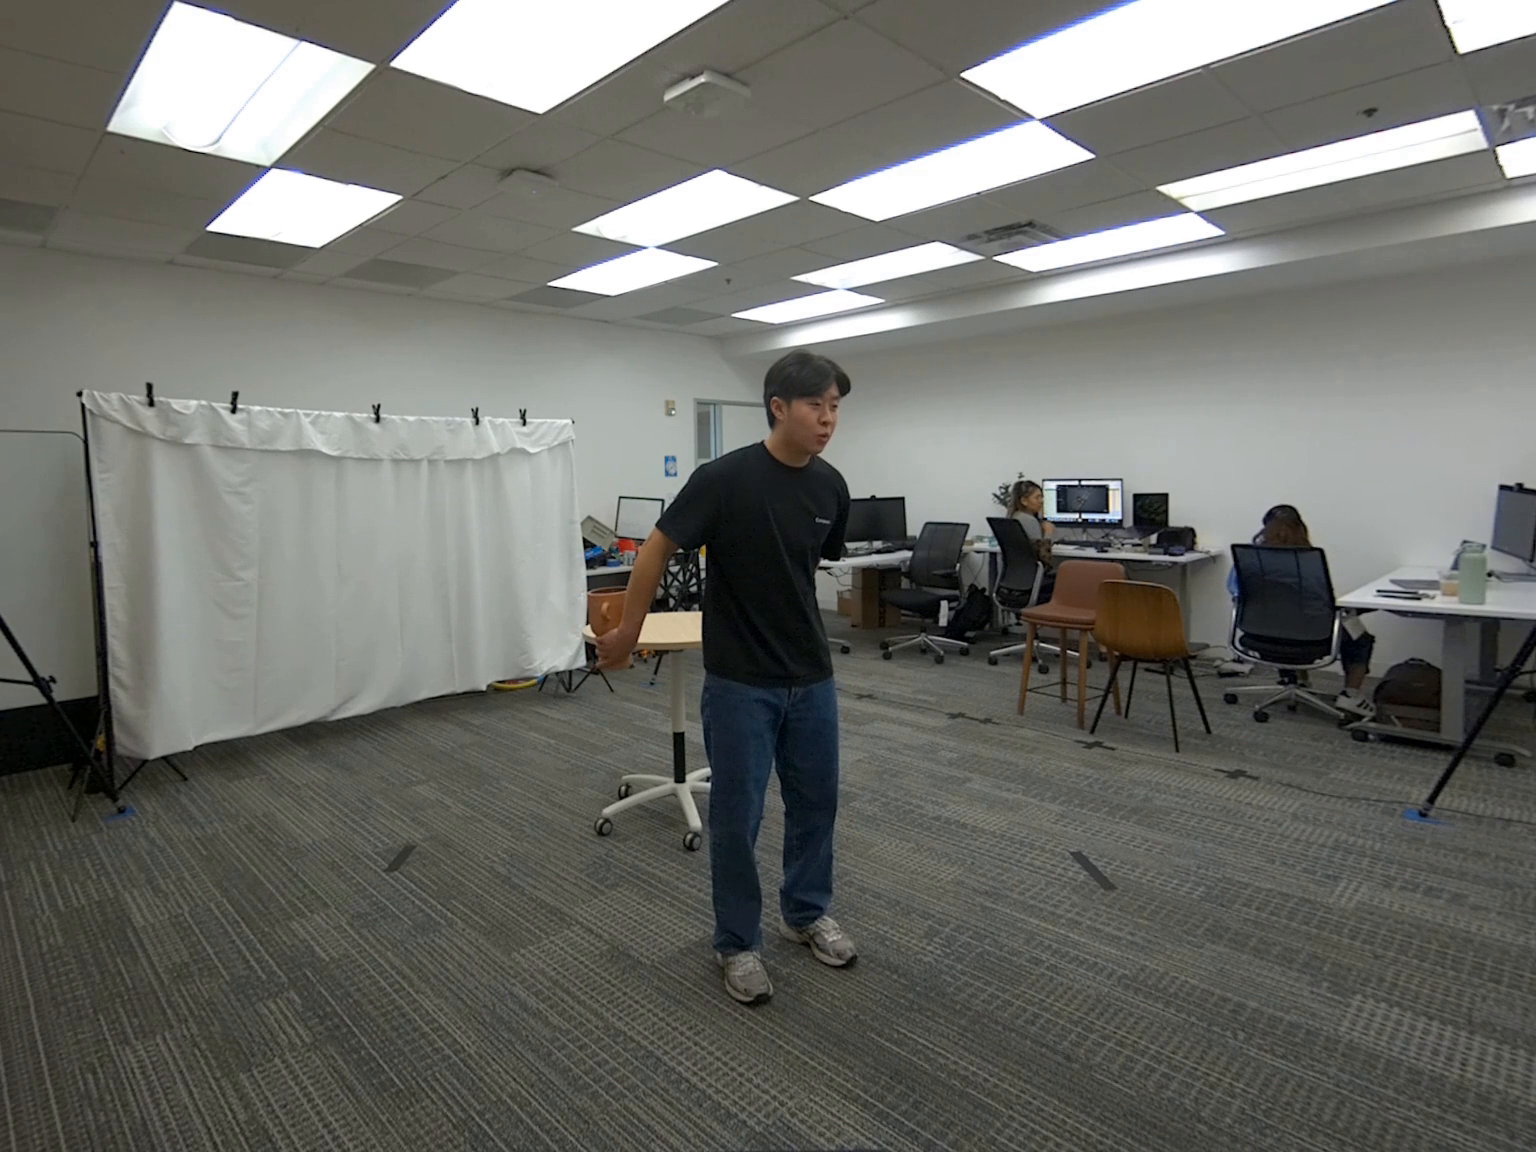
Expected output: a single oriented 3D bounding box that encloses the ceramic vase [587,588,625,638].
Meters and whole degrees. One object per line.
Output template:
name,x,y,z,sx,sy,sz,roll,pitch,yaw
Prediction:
ceramic vase,-0.433,0.151,2.463,0.138,0.218,0.155,1,8,41
